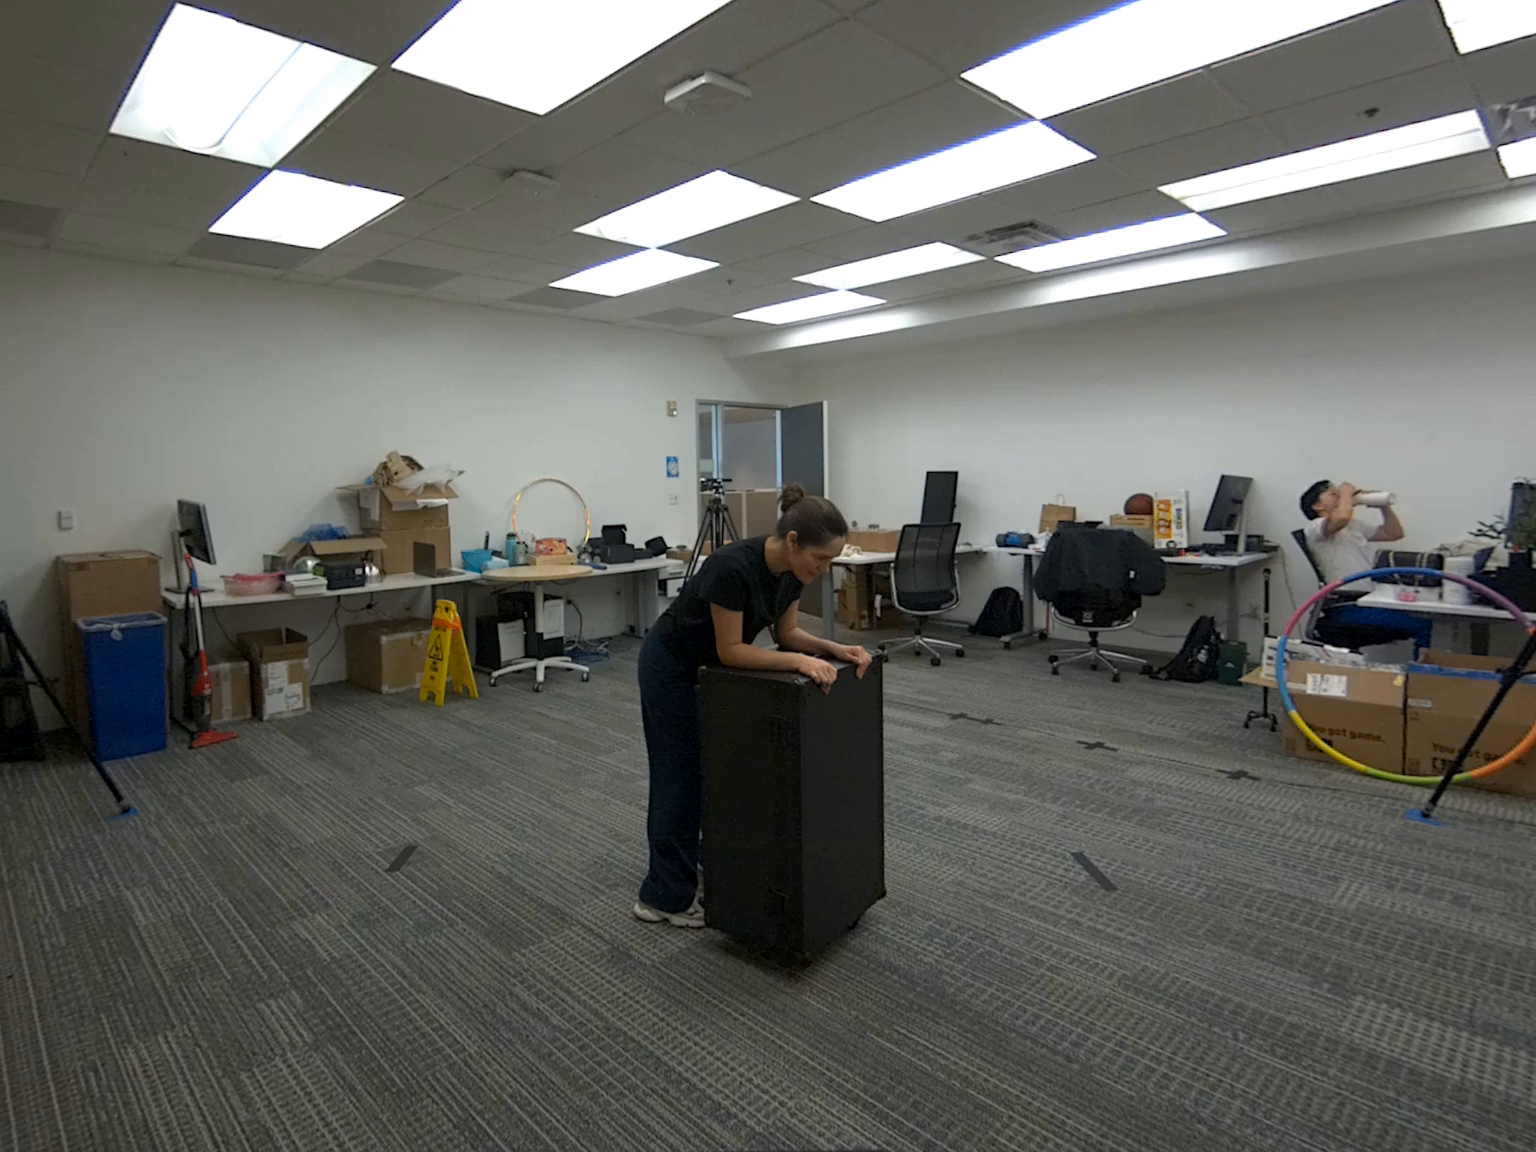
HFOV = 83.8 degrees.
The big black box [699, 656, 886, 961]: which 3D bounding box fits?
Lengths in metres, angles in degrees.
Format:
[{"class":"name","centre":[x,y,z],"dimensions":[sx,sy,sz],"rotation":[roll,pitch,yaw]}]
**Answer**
[{"class":"big black box","centre":[0.078,0.620,2.617],"dimensions":[0.408,0.858,0.508],"rotation":[2,6,36]}]
